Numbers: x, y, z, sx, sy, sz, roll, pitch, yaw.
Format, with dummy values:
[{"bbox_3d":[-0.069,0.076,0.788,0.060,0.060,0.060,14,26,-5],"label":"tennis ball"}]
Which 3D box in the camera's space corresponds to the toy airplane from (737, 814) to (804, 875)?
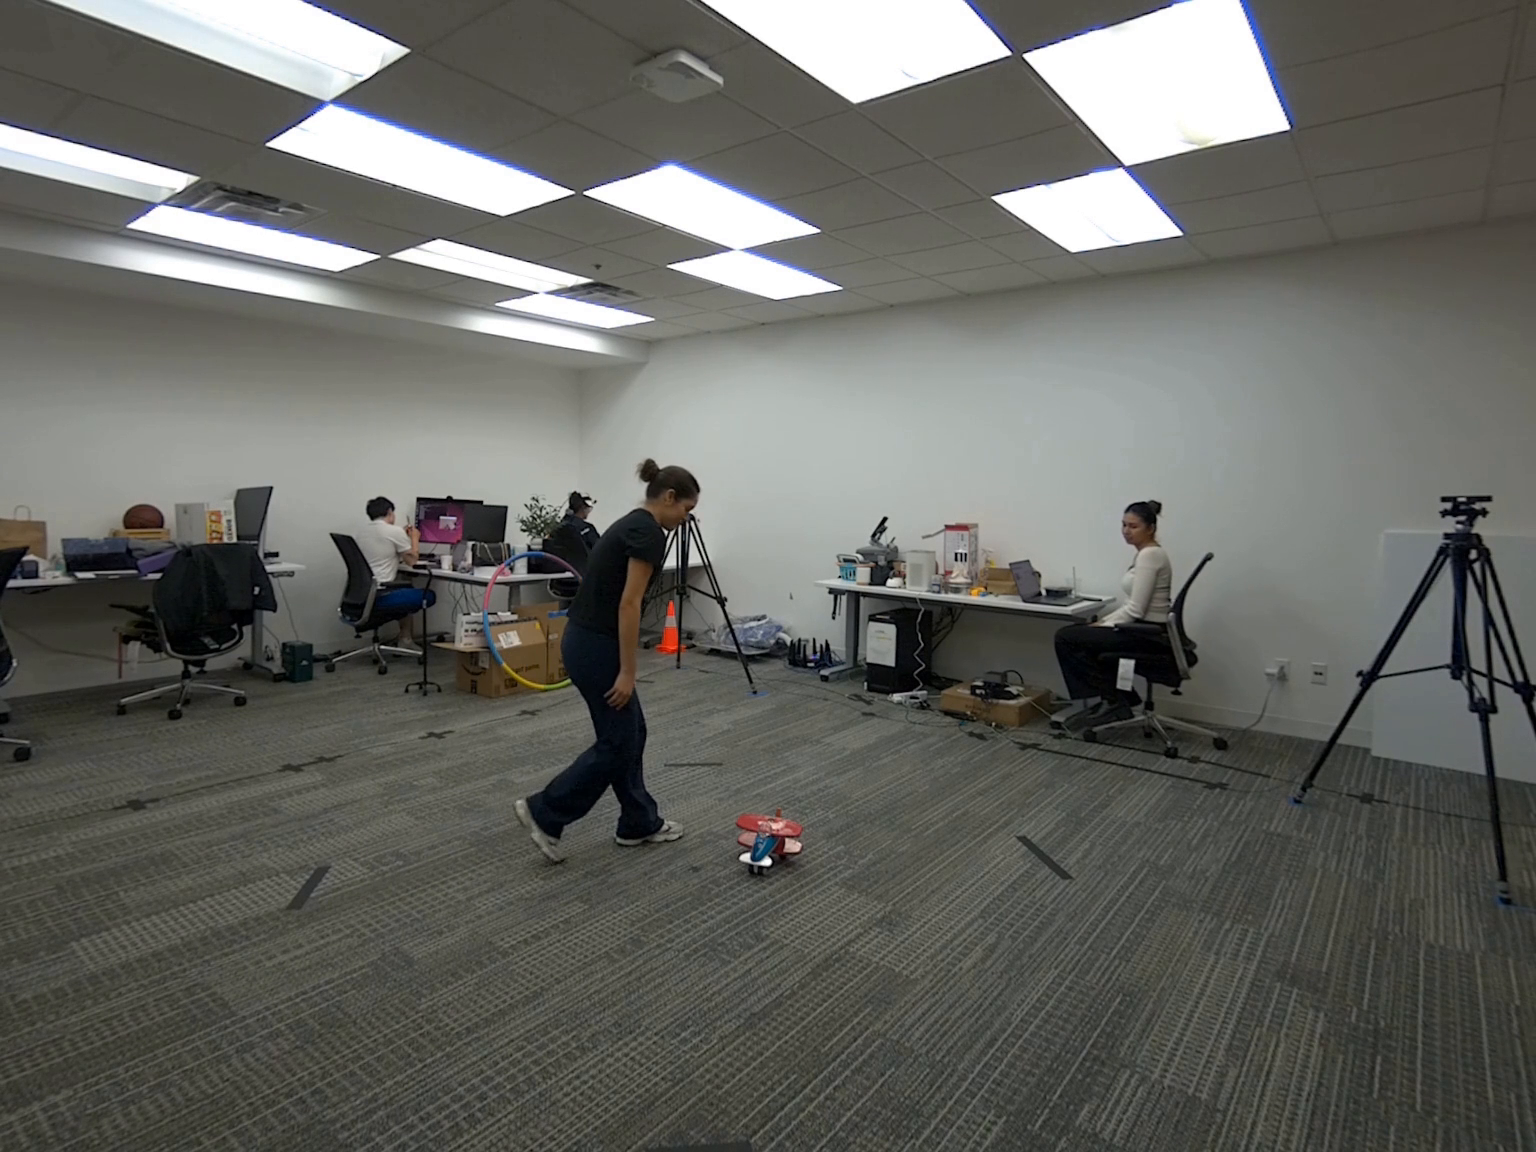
[{"bbox_3d":[0.025,0.993,3.154,0.249,0.156,0.261,1,3,-6],"label":"toy airplane"}]
